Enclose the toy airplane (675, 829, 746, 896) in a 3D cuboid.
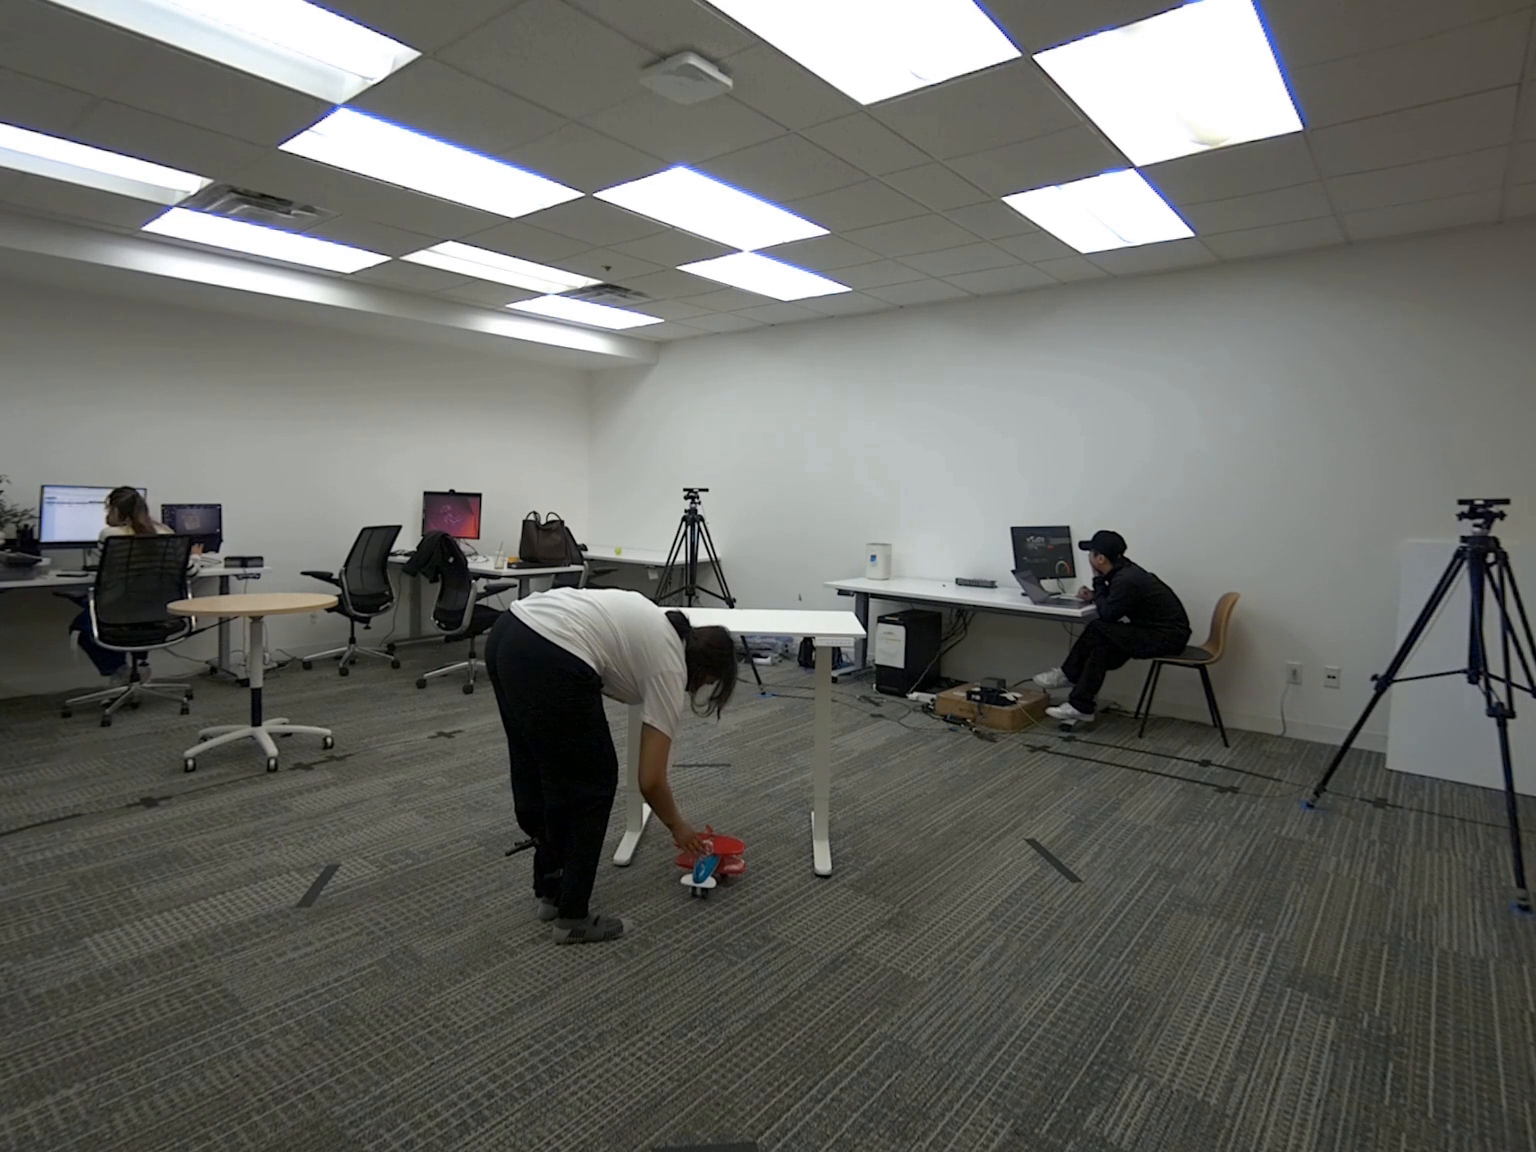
[{"bbox_3d":[-0.201,1.009,2.990,0.247,0.156,0.265,-2,6,-18],"label":"toy airplane"}]
